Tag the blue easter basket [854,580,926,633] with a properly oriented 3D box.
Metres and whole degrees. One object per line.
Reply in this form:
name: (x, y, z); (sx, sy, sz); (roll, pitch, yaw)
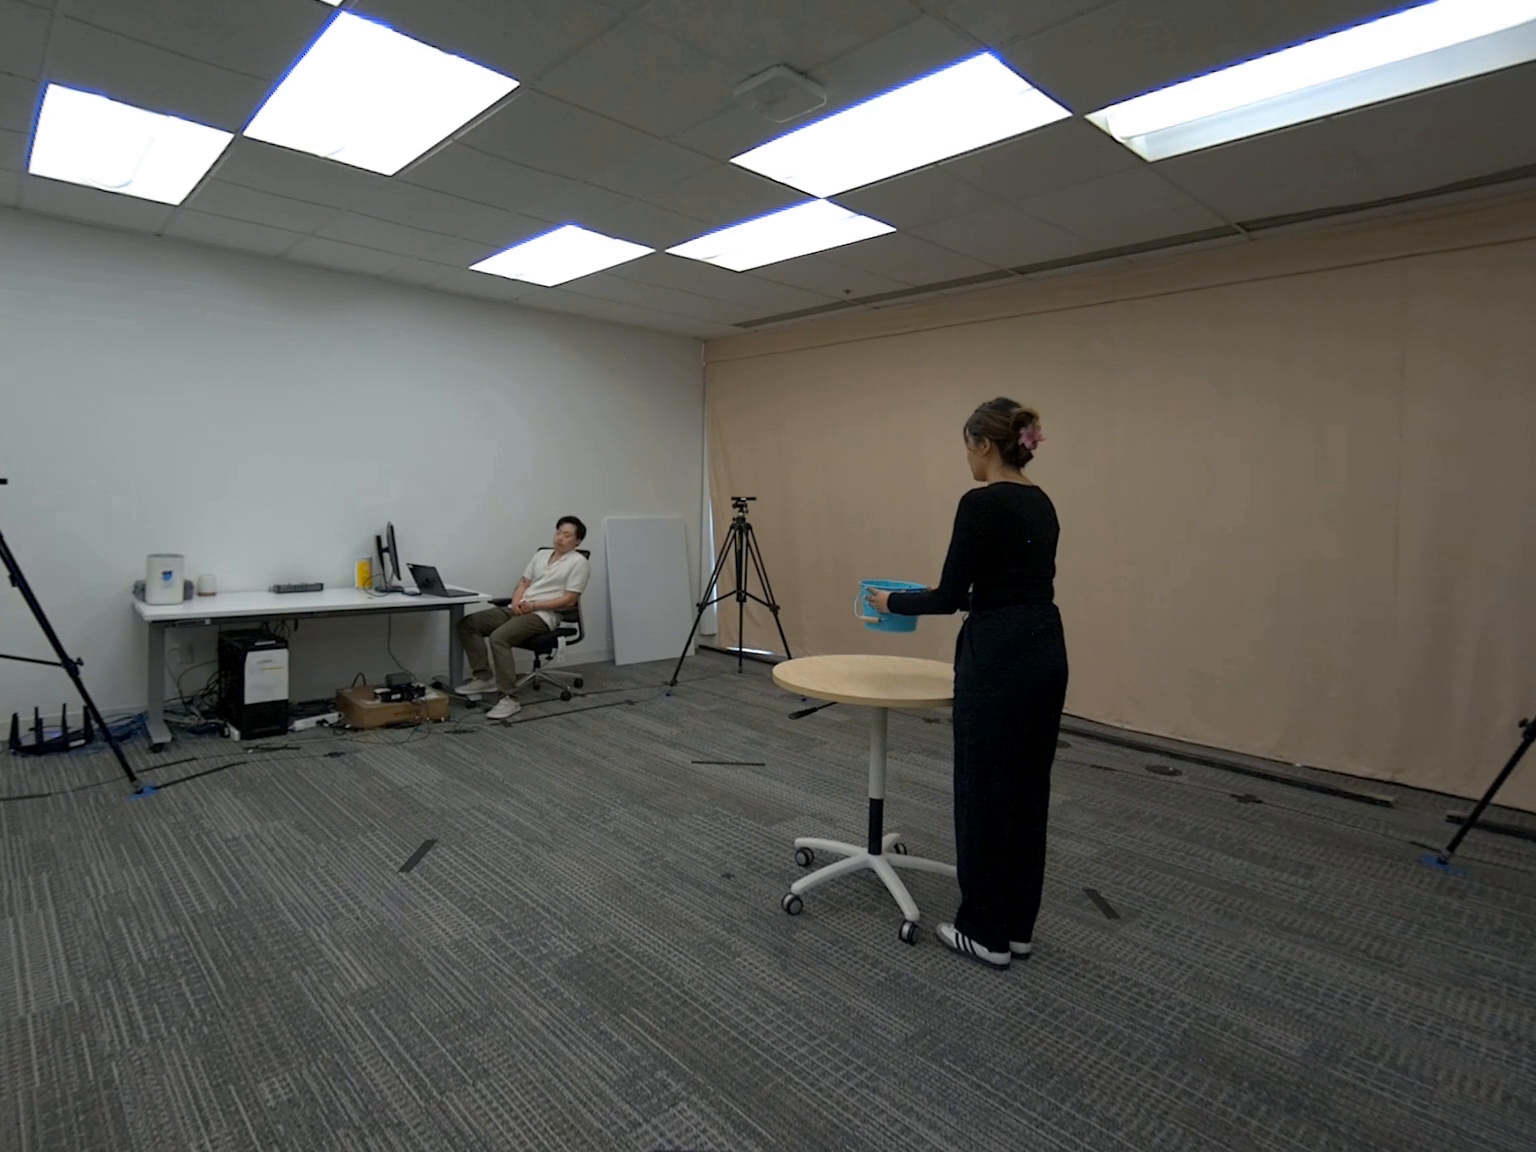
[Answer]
blue easter basket: (0.426, 0.105, 2.915); (0.243, 0.155, 0.245); (4, 6, -2)
